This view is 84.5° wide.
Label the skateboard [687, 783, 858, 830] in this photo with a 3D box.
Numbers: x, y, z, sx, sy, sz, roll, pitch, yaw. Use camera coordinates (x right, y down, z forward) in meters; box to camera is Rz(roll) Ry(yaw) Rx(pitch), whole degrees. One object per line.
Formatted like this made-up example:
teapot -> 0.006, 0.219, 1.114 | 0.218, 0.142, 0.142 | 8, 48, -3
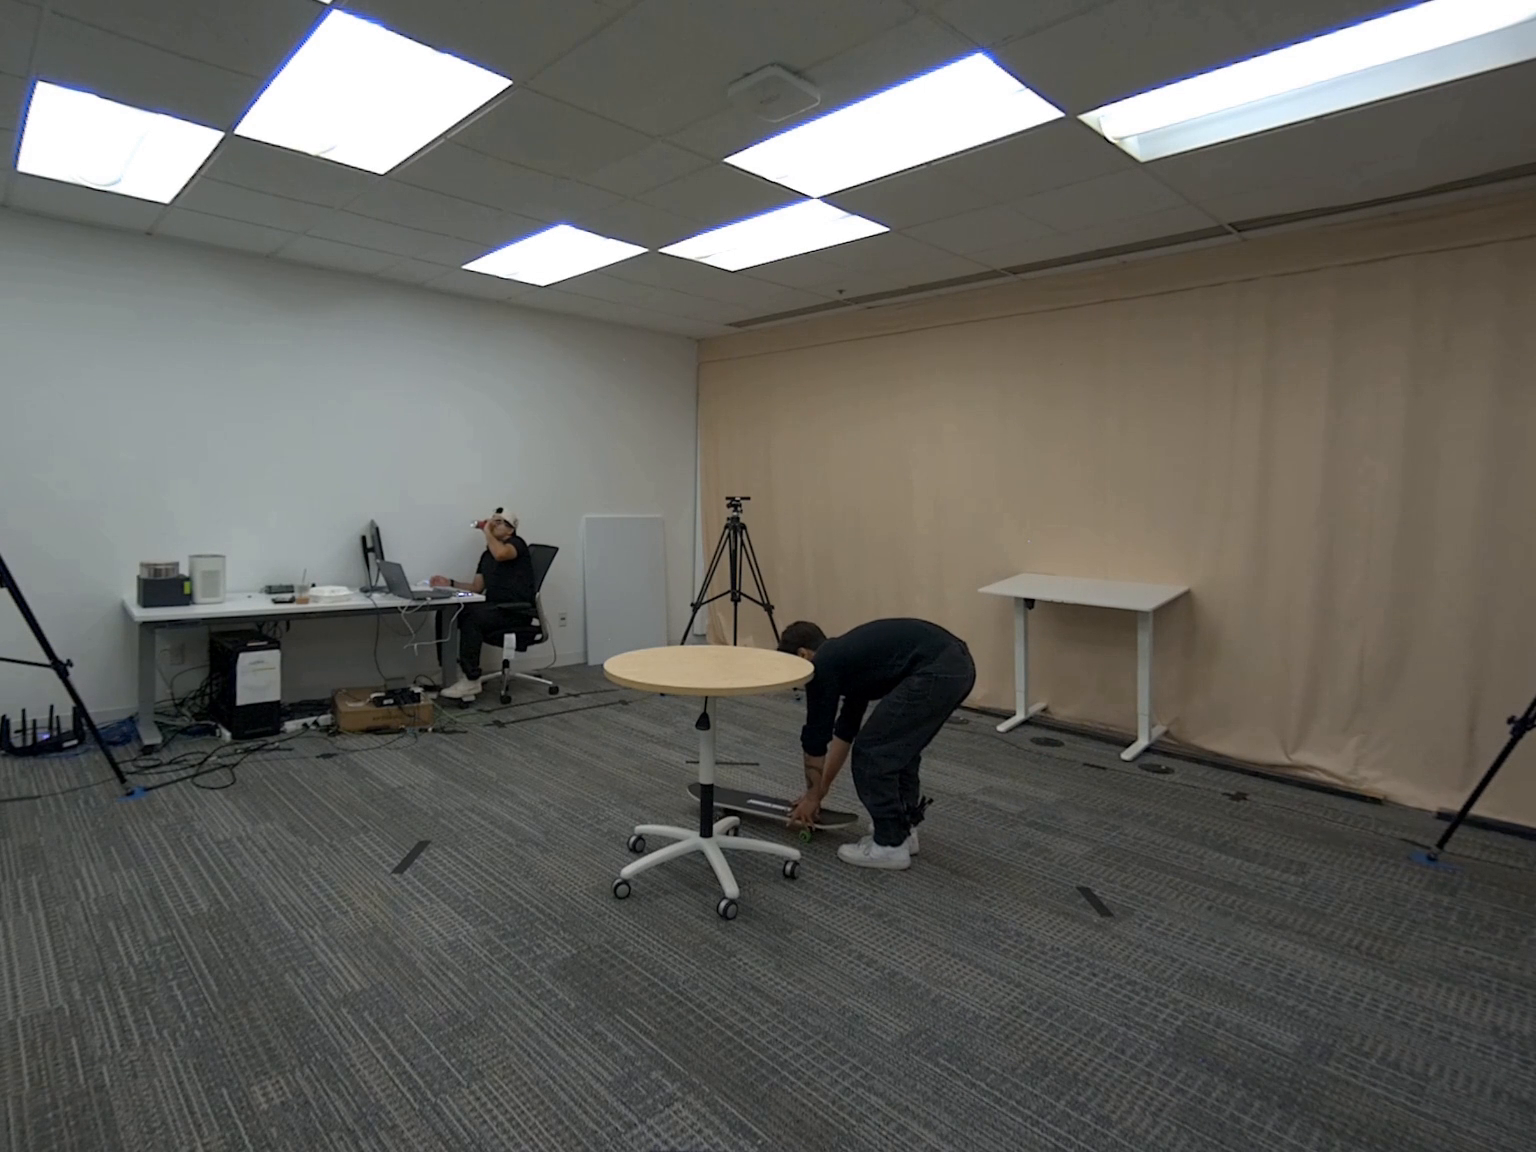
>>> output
skateboard -> -0.002, 1.007, 3.604 | 0.802, 0.110, 0.190 | 4, 5, 28
